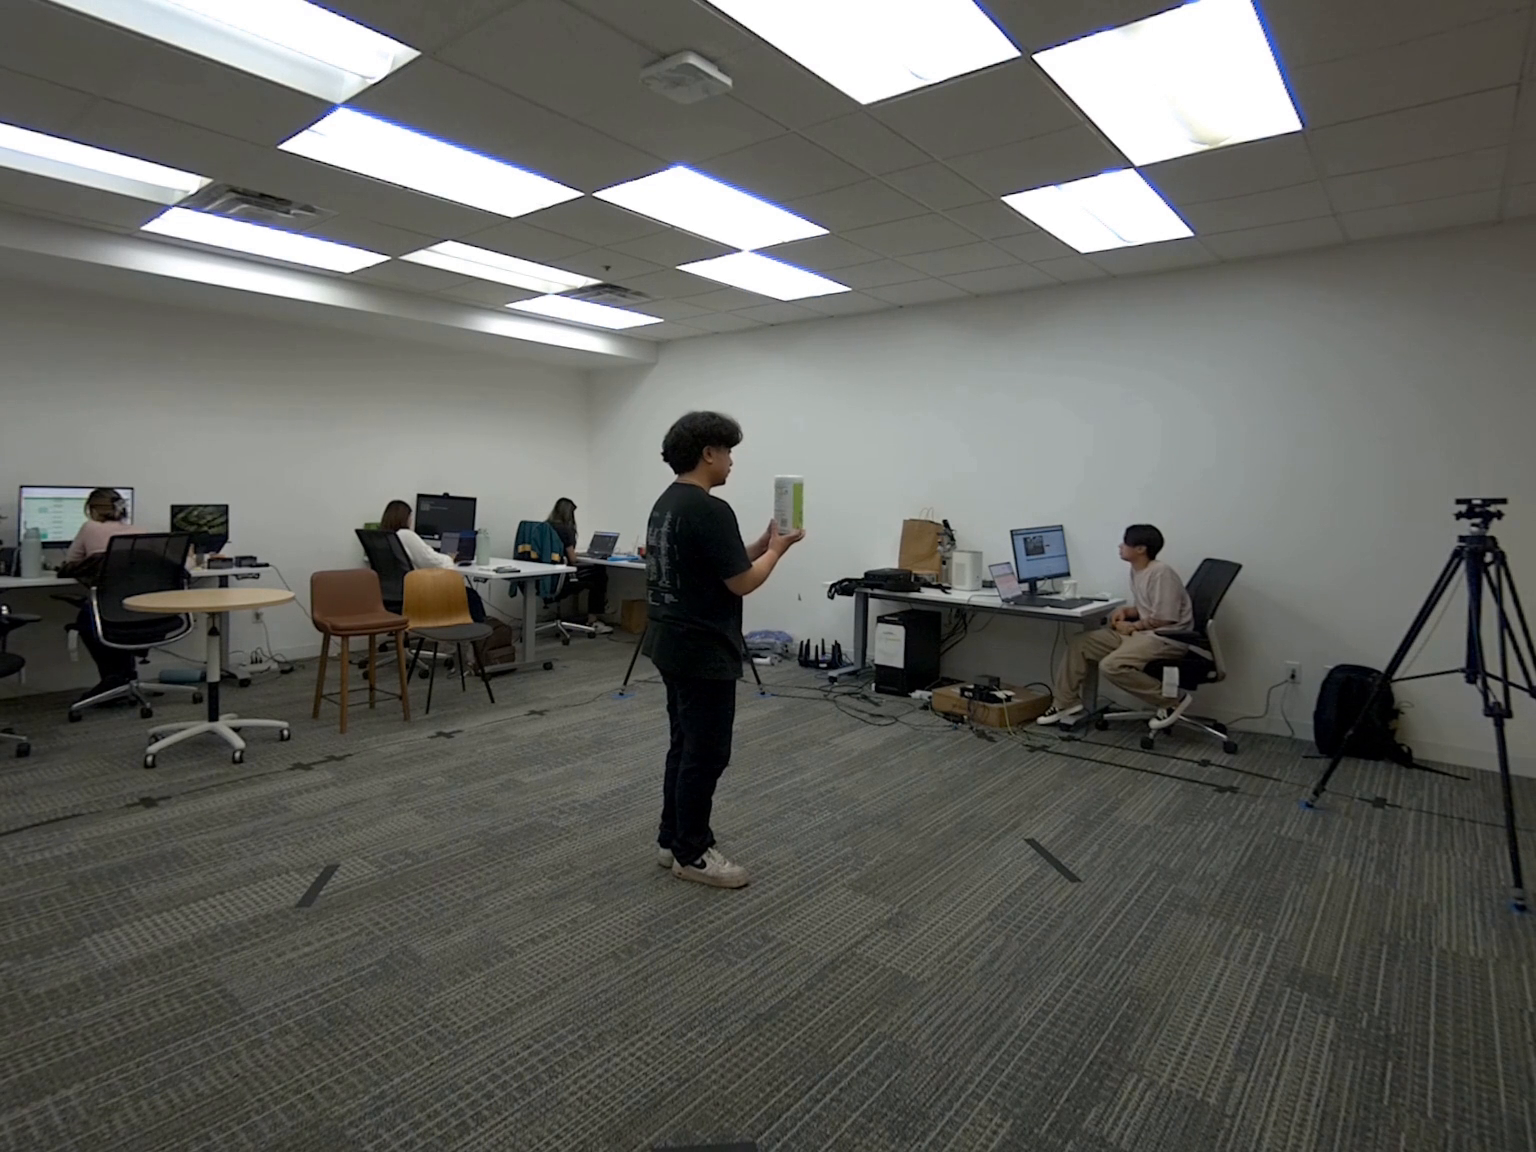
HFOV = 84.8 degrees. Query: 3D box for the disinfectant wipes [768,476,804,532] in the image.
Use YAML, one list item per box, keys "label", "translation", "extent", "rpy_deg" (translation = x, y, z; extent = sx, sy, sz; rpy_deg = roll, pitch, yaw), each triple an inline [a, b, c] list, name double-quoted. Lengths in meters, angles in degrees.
- label: "disinfectant wipes"
  translation: [0.064, -0.265, 3.147]
  extent: [0.118, 0.217, 0.118]
  rpy_deg: [1, 4, -2]
